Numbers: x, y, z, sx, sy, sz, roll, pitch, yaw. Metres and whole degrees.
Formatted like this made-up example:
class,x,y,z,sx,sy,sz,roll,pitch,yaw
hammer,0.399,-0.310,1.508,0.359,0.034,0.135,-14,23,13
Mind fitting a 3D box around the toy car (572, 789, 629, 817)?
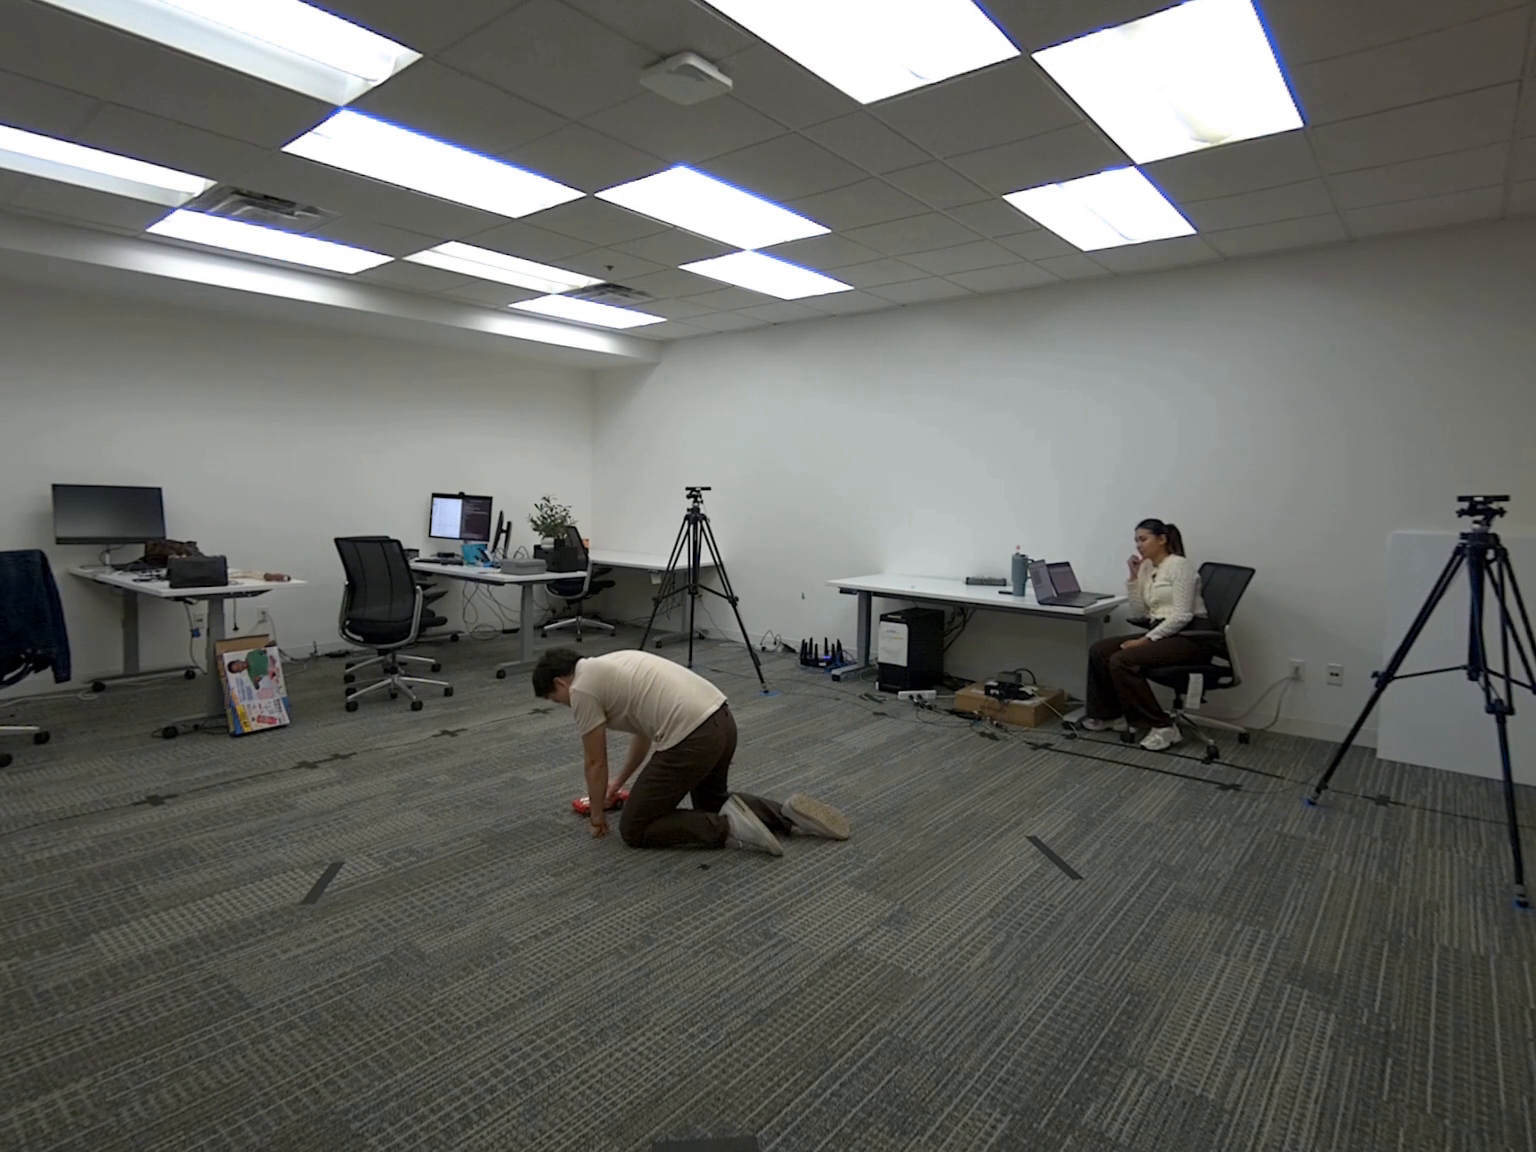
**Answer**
class,x,y,z,sx,sy,sz,roll,pitch,yaw
toy car,-0.735,0.975,3.688,0.249,0.082,0.134,-14,12,-33
